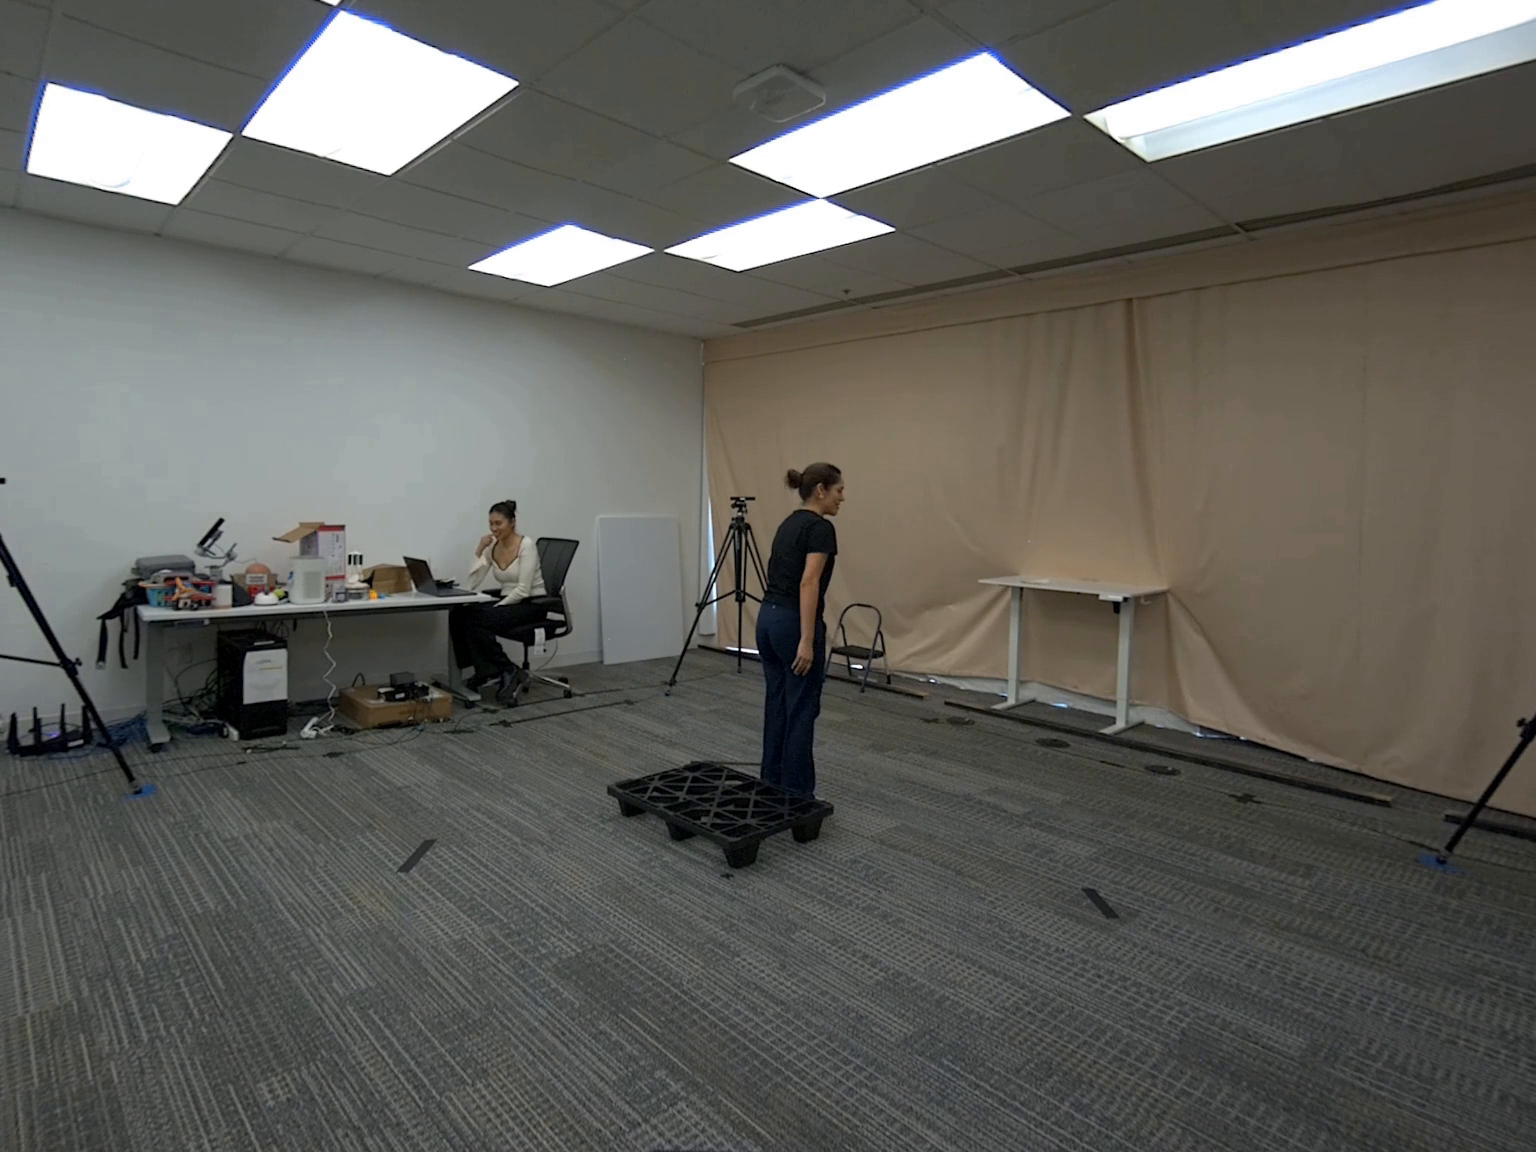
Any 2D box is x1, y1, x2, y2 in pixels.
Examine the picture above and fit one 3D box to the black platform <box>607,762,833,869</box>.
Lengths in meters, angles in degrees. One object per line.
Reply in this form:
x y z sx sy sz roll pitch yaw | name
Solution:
-0.223 1.000 3.555 0.826 0.143 0.591 6 7 45 | black platform
